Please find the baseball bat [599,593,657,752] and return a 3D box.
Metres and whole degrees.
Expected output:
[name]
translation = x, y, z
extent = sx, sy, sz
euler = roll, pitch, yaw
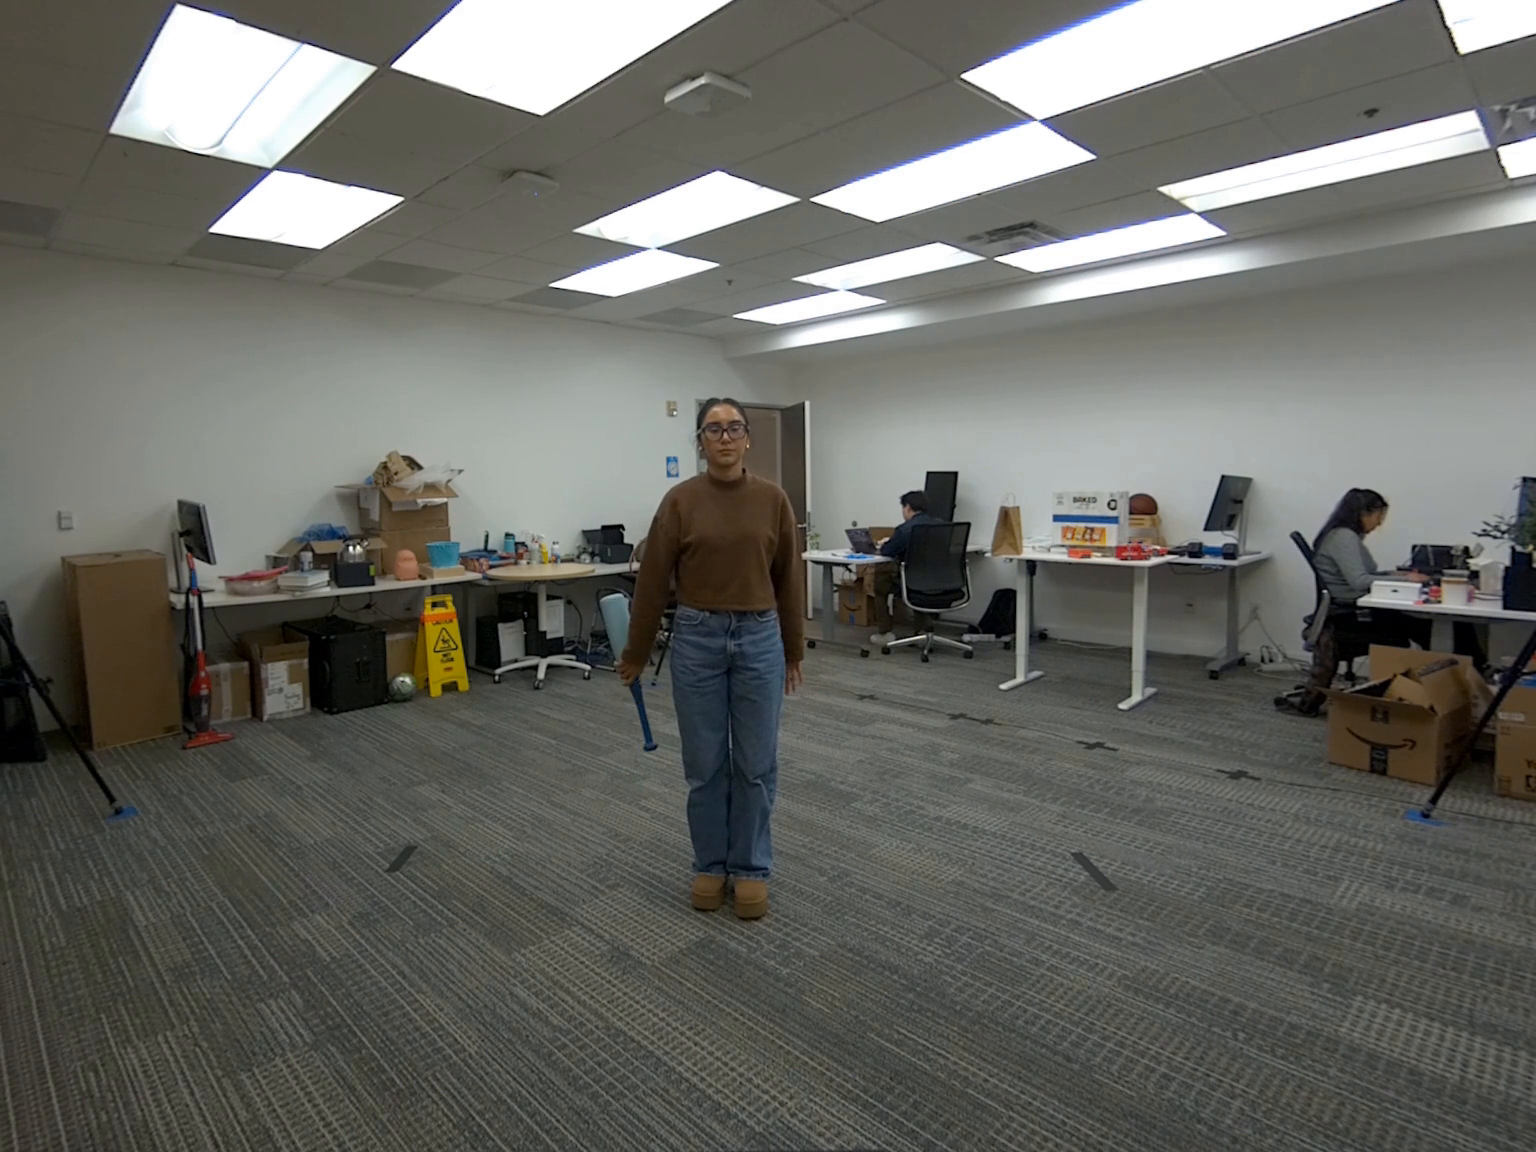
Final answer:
[baseball bat]
translation = -0.453, 0.332, 2.907
extent = 0.089, 0.546, 0.089
euler = -15, -5, -2
